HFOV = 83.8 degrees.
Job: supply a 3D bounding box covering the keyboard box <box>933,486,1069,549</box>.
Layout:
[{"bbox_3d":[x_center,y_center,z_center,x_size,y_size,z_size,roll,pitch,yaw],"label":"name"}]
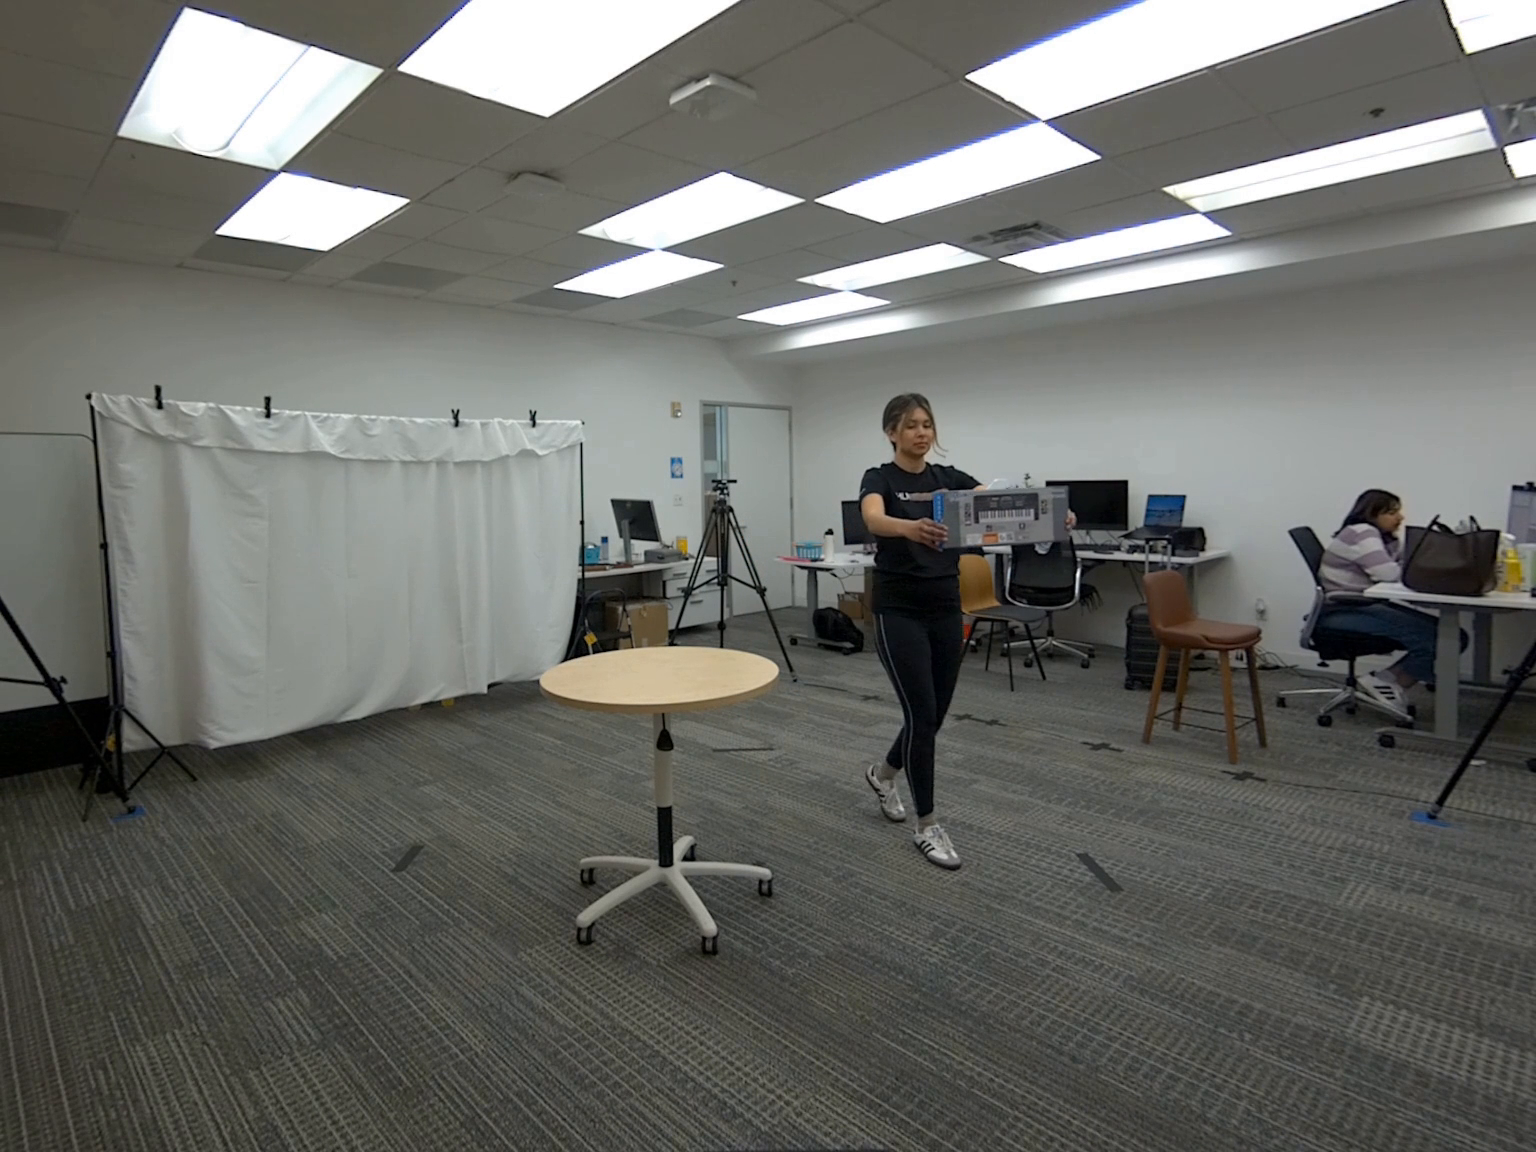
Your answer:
[{"bbox_3d":[0.727,-0.182,2.653,0.431,0.176,0.060,-4,2,-15],"label":"keyboard box"}]
